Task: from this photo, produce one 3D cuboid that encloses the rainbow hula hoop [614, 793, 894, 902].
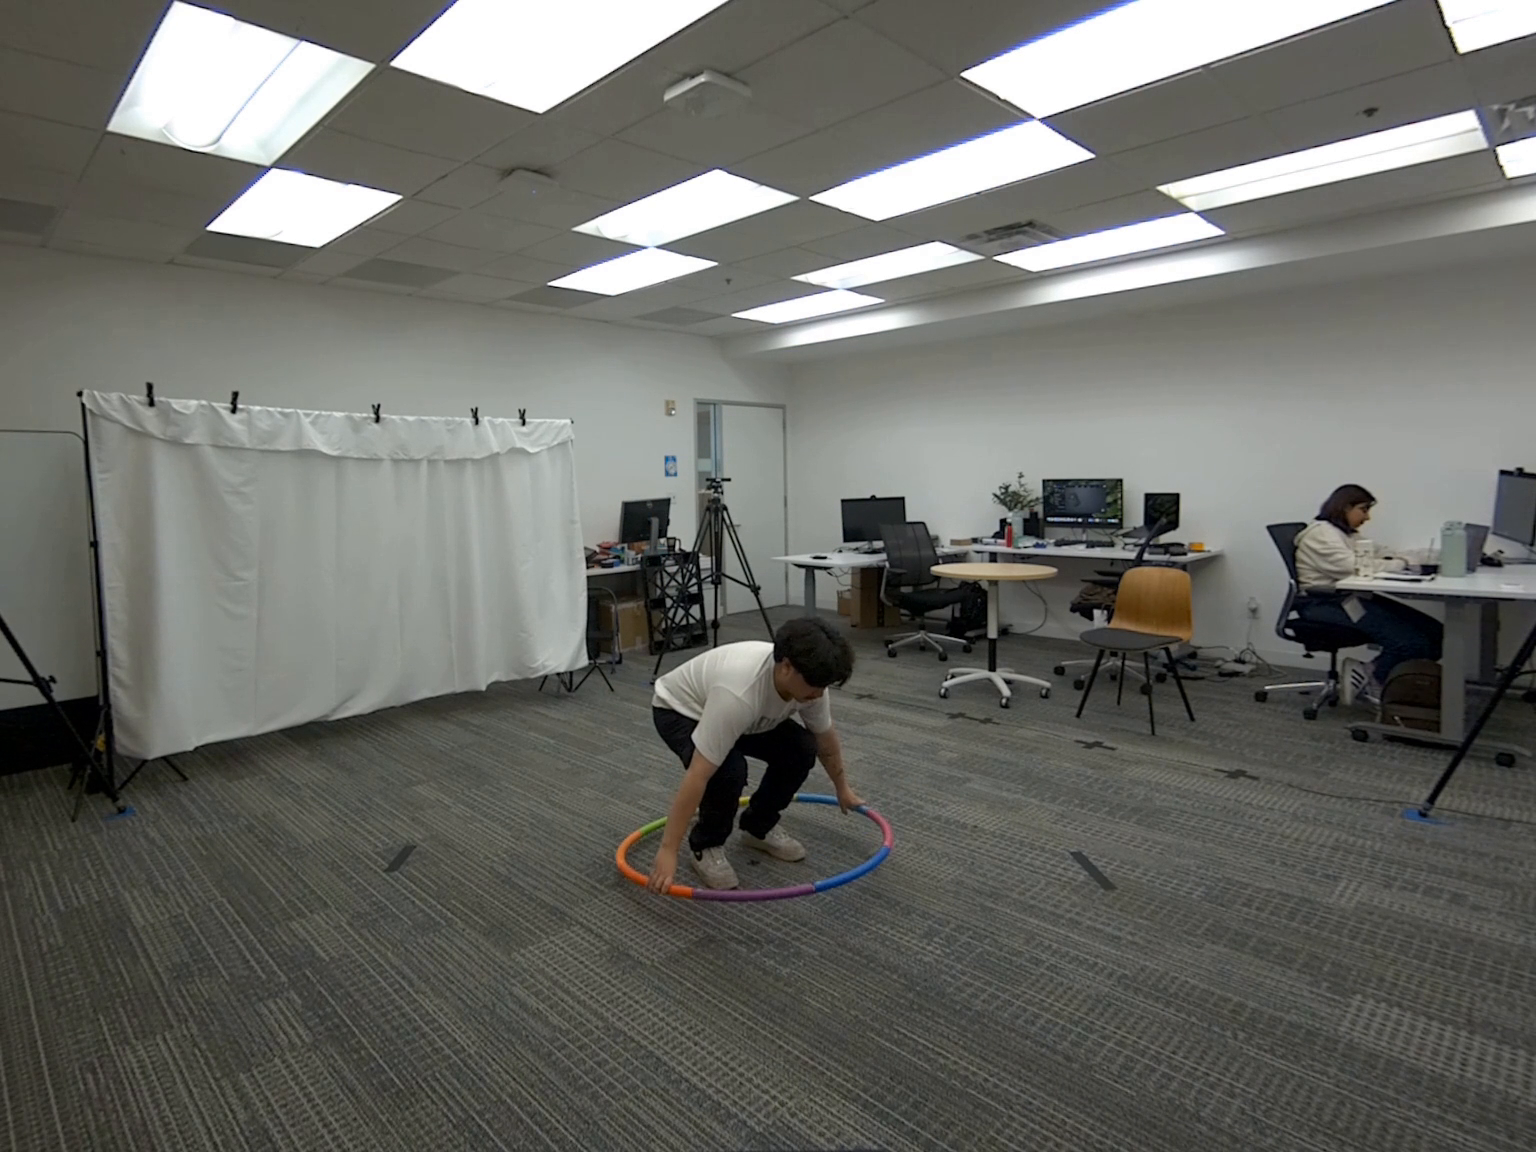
[{"bbox_3d":[-0.054,0.937,3.052,0.985,0.051,0.986,-6,2,-2],"label":"rainbow hula hoop"}]
